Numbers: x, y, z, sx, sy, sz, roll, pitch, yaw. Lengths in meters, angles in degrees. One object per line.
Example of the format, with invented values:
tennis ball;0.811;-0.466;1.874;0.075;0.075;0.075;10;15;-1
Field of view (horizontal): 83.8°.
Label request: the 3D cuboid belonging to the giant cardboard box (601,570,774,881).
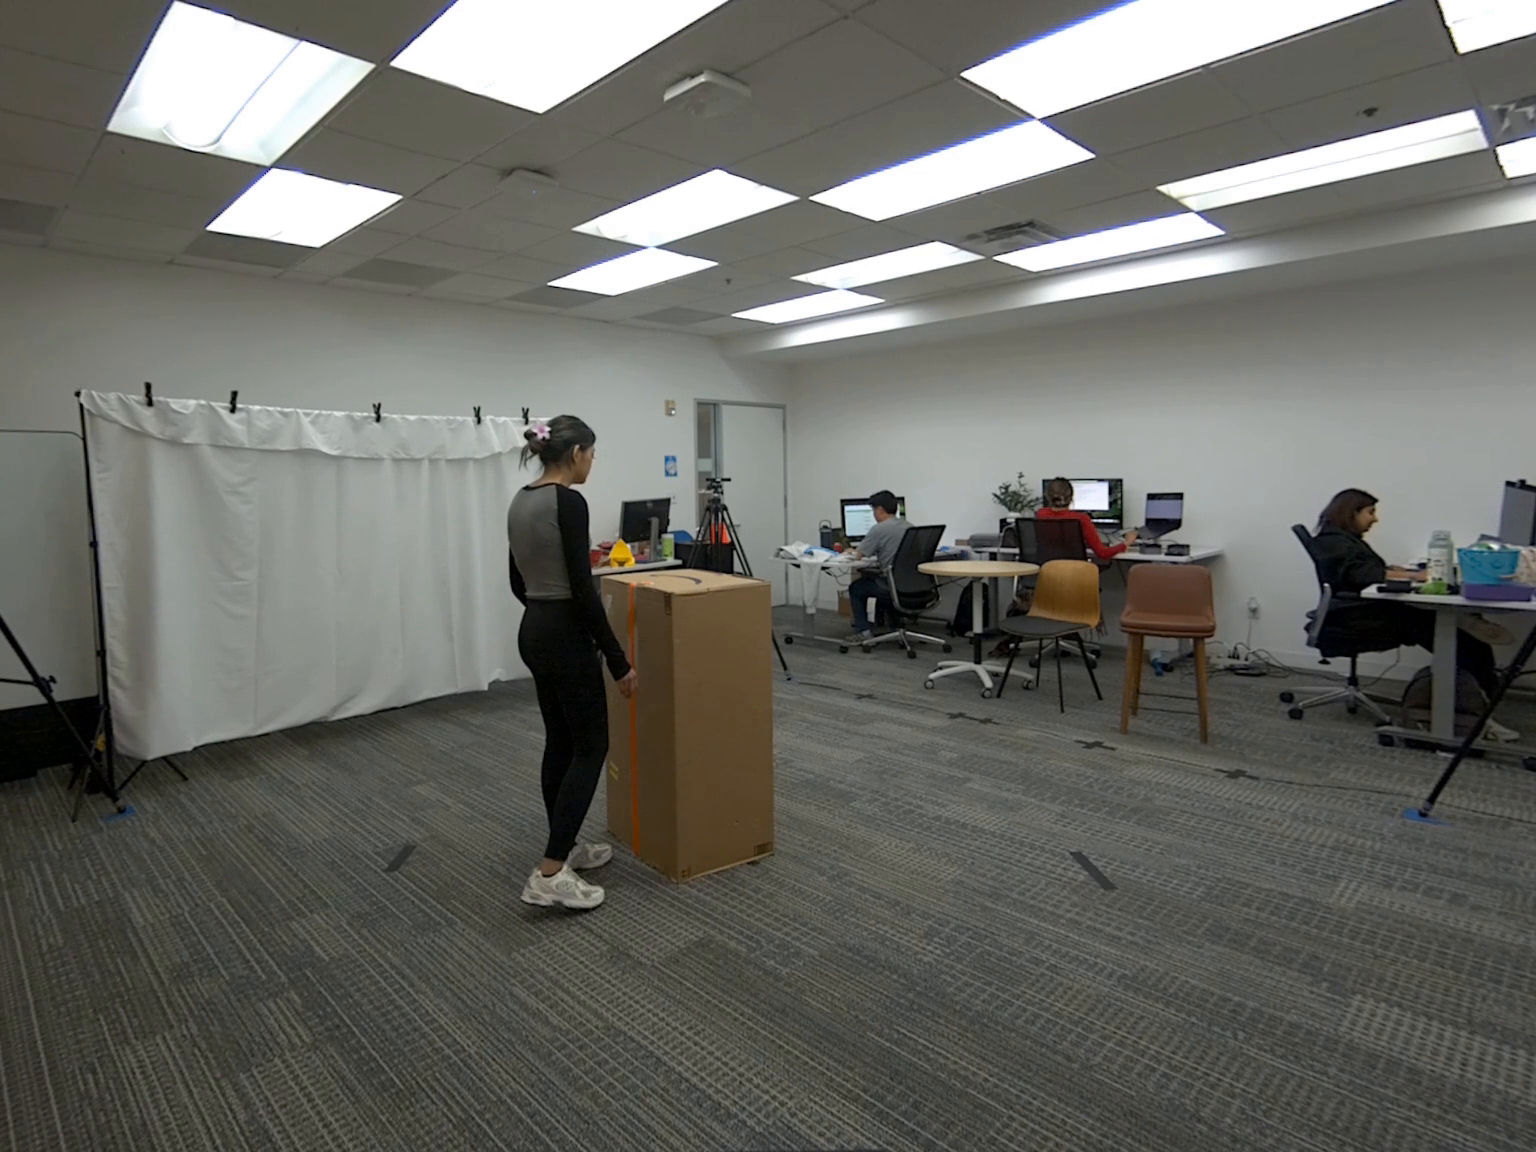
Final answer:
giant cardboard box;-0.318;0.520;3.267;0.435;1.023;0.601;-3;5;-35
